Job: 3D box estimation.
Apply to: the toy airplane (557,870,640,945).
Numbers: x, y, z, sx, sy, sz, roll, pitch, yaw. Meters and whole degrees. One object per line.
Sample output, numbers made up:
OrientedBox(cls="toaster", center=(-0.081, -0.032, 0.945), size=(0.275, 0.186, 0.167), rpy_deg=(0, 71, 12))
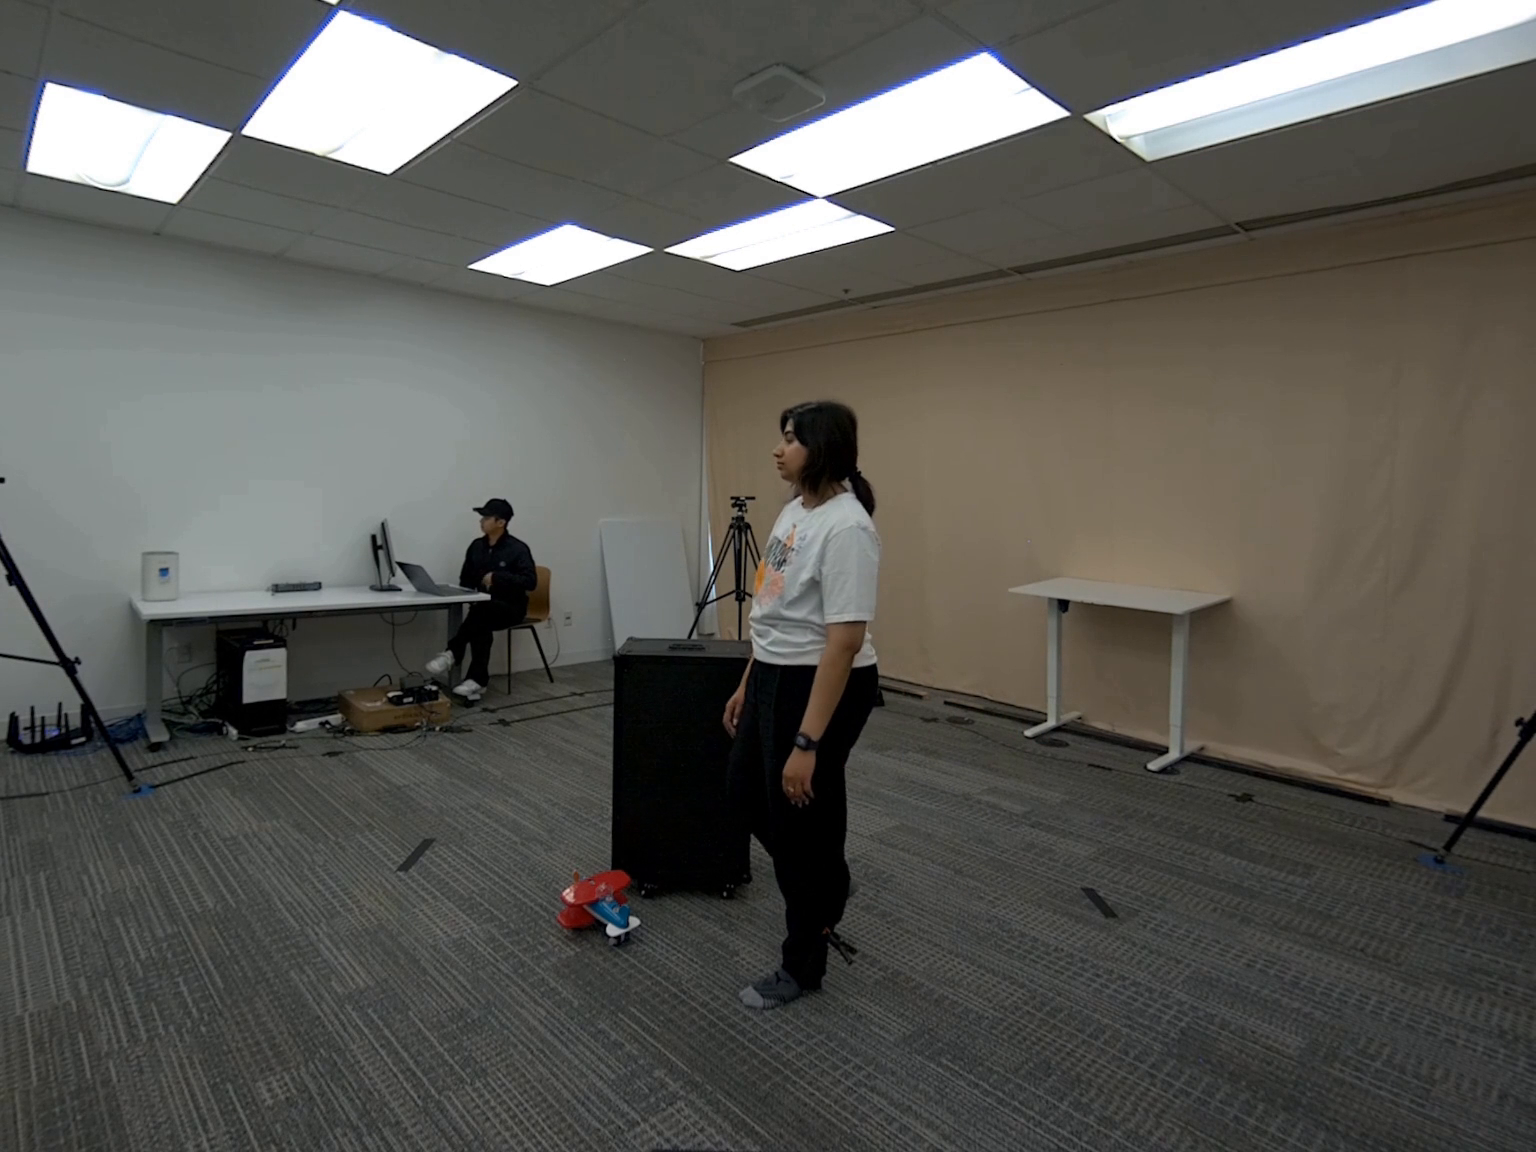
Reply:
OrientedBox(cls="toy airplane", center=(-0.539, 1.067, 2.688), size=(0.262, 0.156, 0.249), rpy_deg=(0, 5, 12))
